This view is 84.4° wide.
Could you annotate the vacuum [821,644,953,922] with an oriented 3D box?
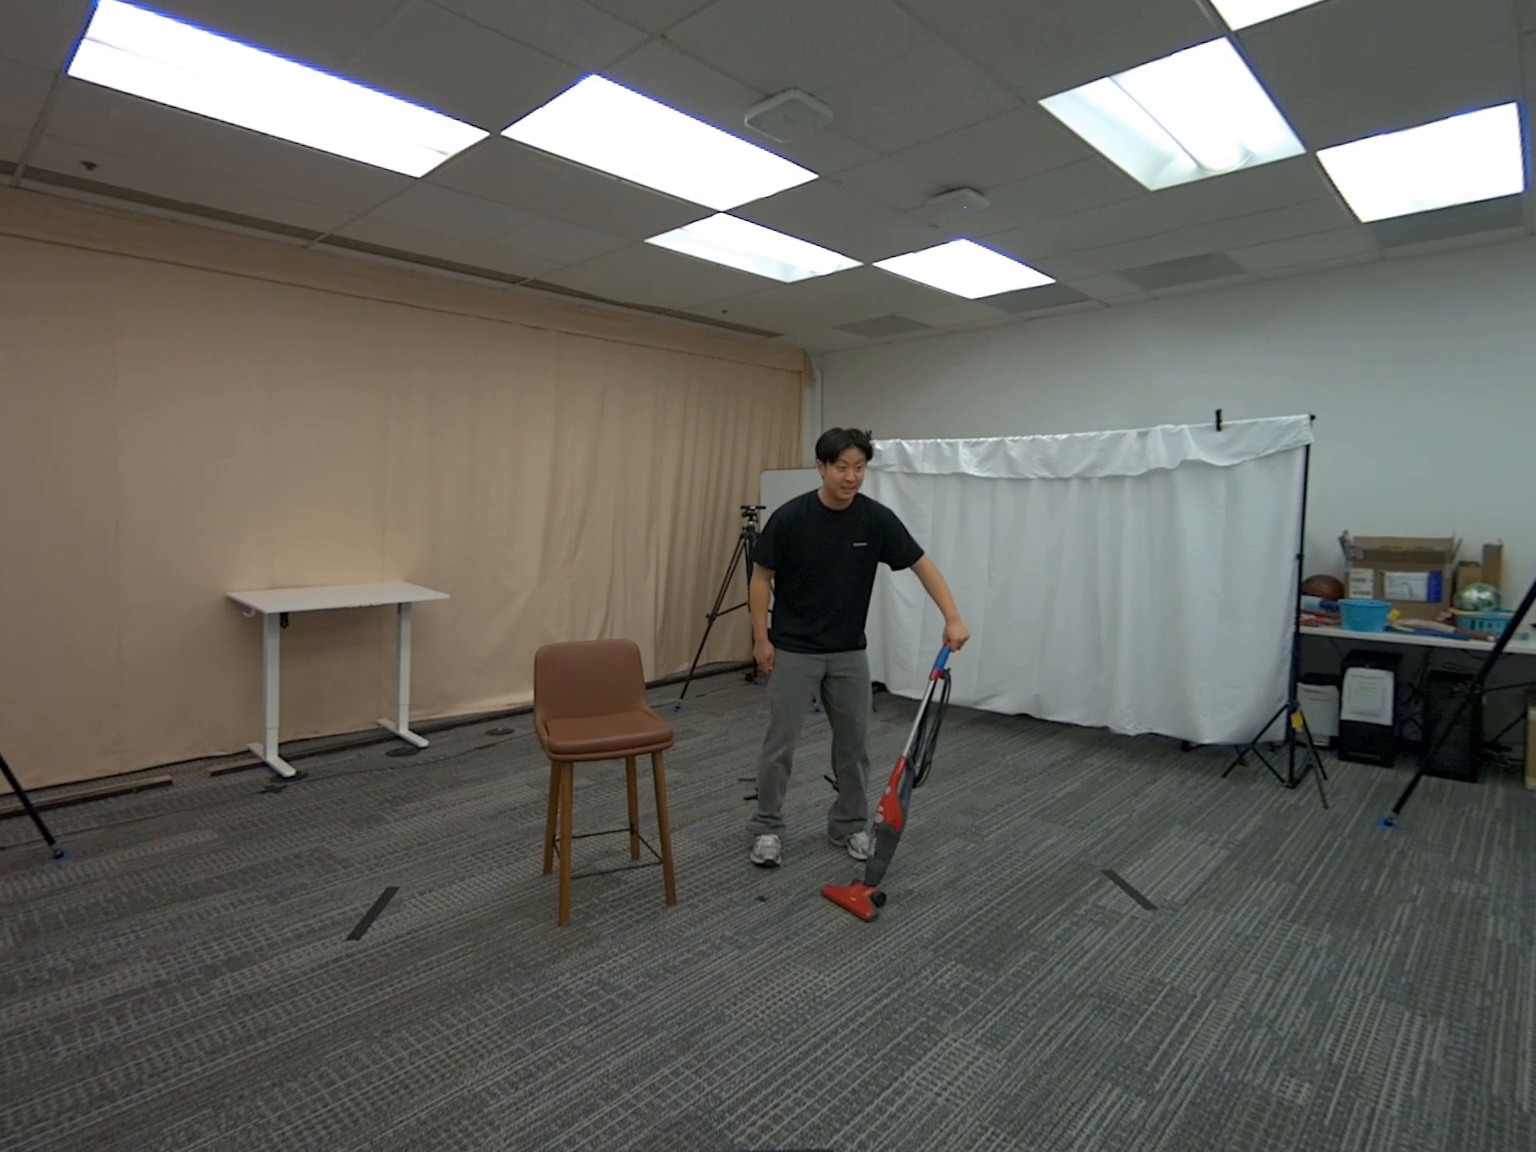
[{"bbox_3d":[0.519,0.682,3.065,0.261,1.051,0.139,10,-20,46],"label":"vacuum"}]
